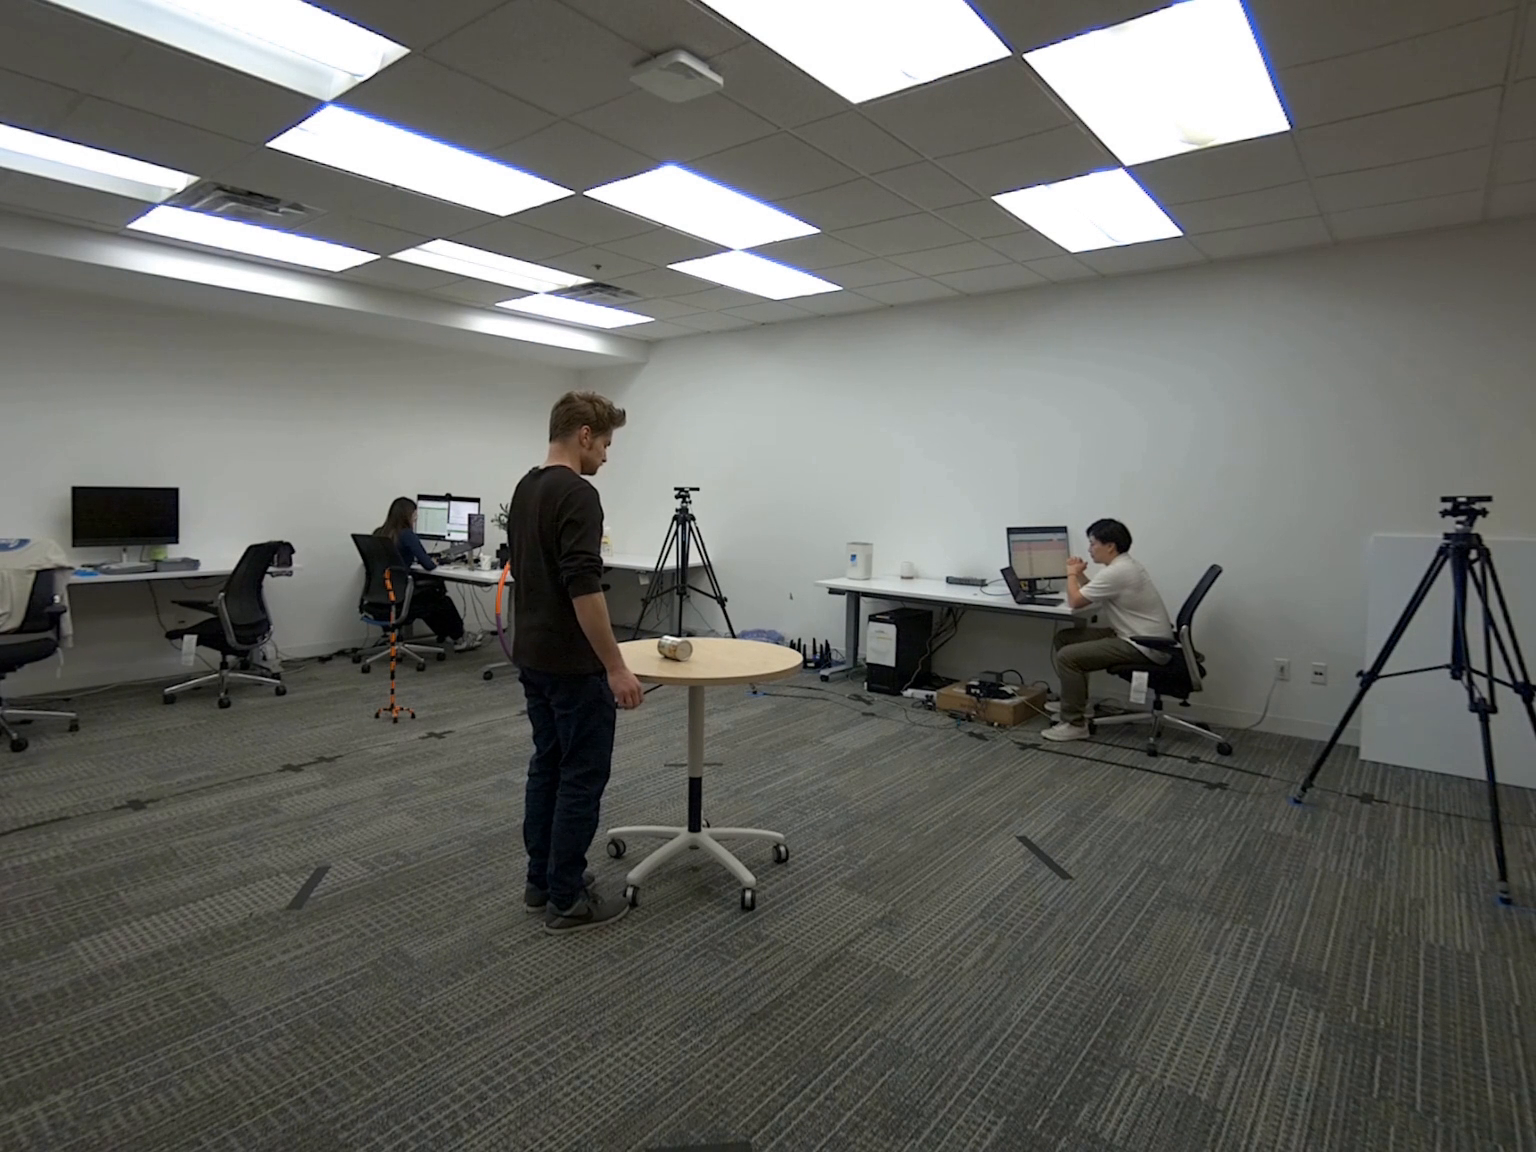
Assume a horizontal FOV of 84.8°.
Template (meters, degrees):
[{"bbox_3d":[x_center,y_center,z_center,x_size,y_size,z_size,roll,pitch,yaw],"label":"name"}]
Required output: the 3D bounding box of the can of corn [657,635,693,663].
[{"bbox_3d":[-0.338,0.252,3.003,0.072,0.074,0.115,-2,6,-38],"label":"can of corn"}]
